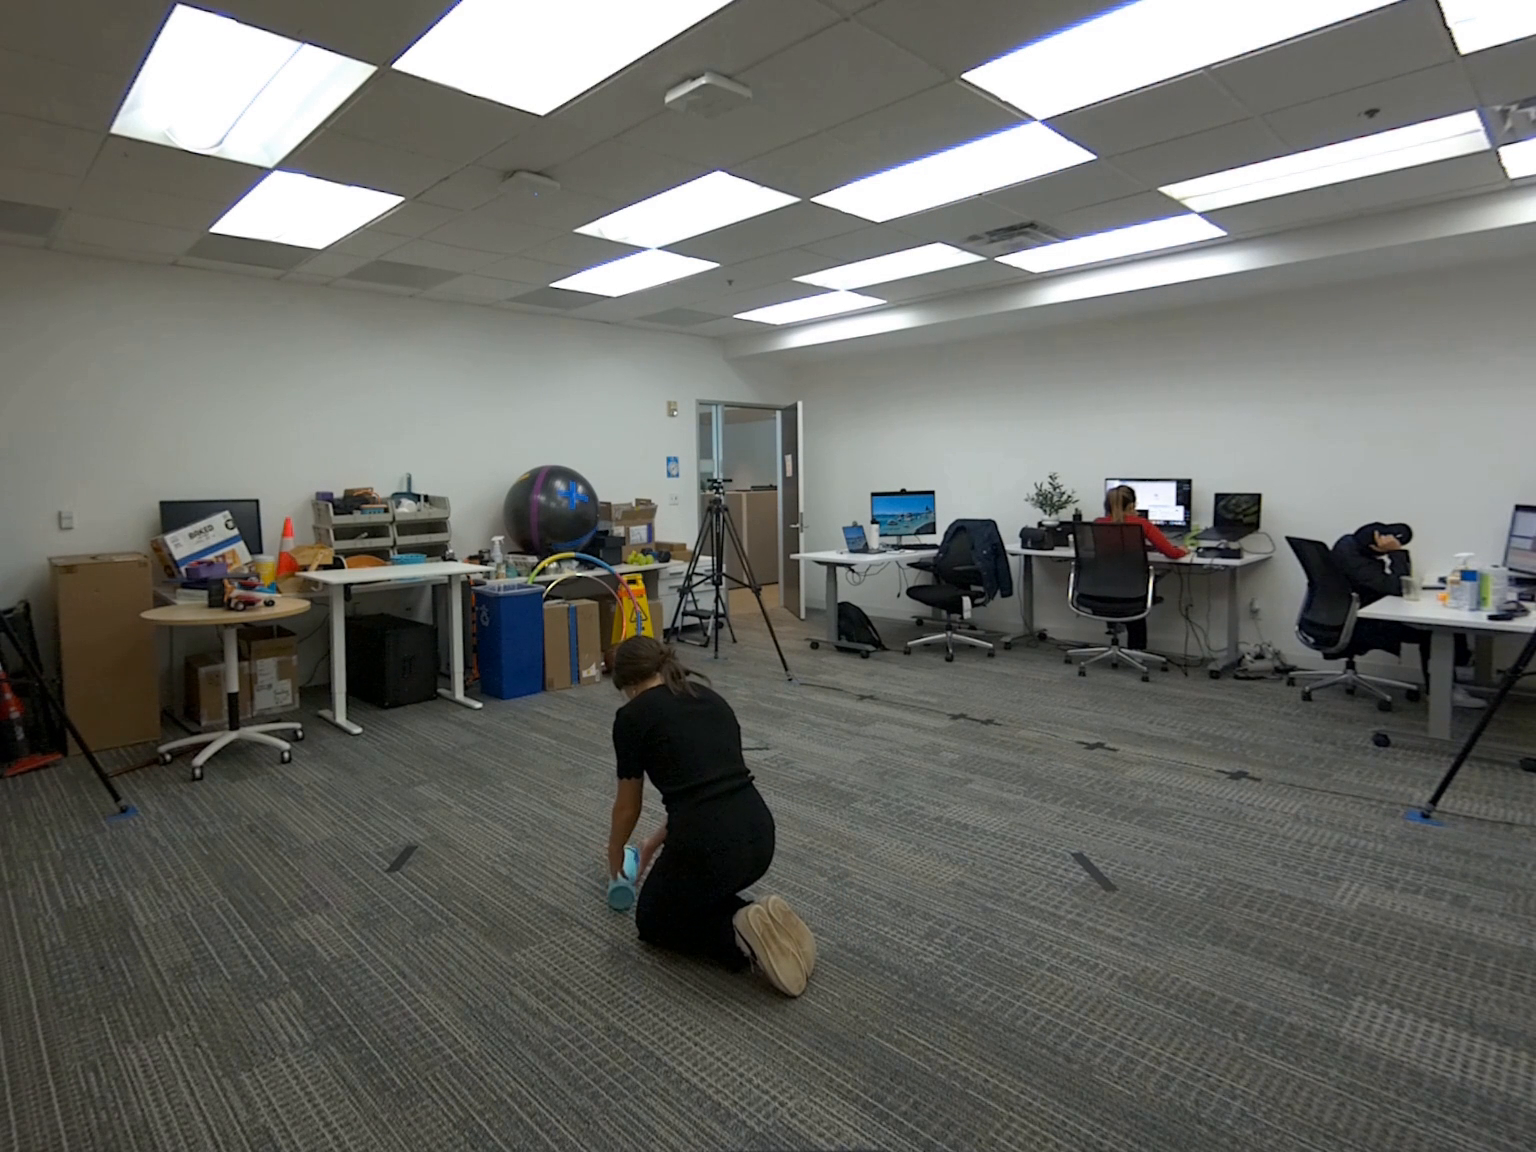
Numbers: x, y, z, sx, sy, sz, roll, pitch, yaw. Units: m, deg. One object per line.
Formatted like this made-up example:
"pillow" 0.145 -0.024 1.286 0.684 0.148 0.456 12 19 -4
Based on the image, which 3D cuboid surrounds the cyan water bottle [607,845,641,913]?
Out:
"cyan water bottle" -0.488 1.009 2.902 0.092 0.091 0.287 -2 12 -6
